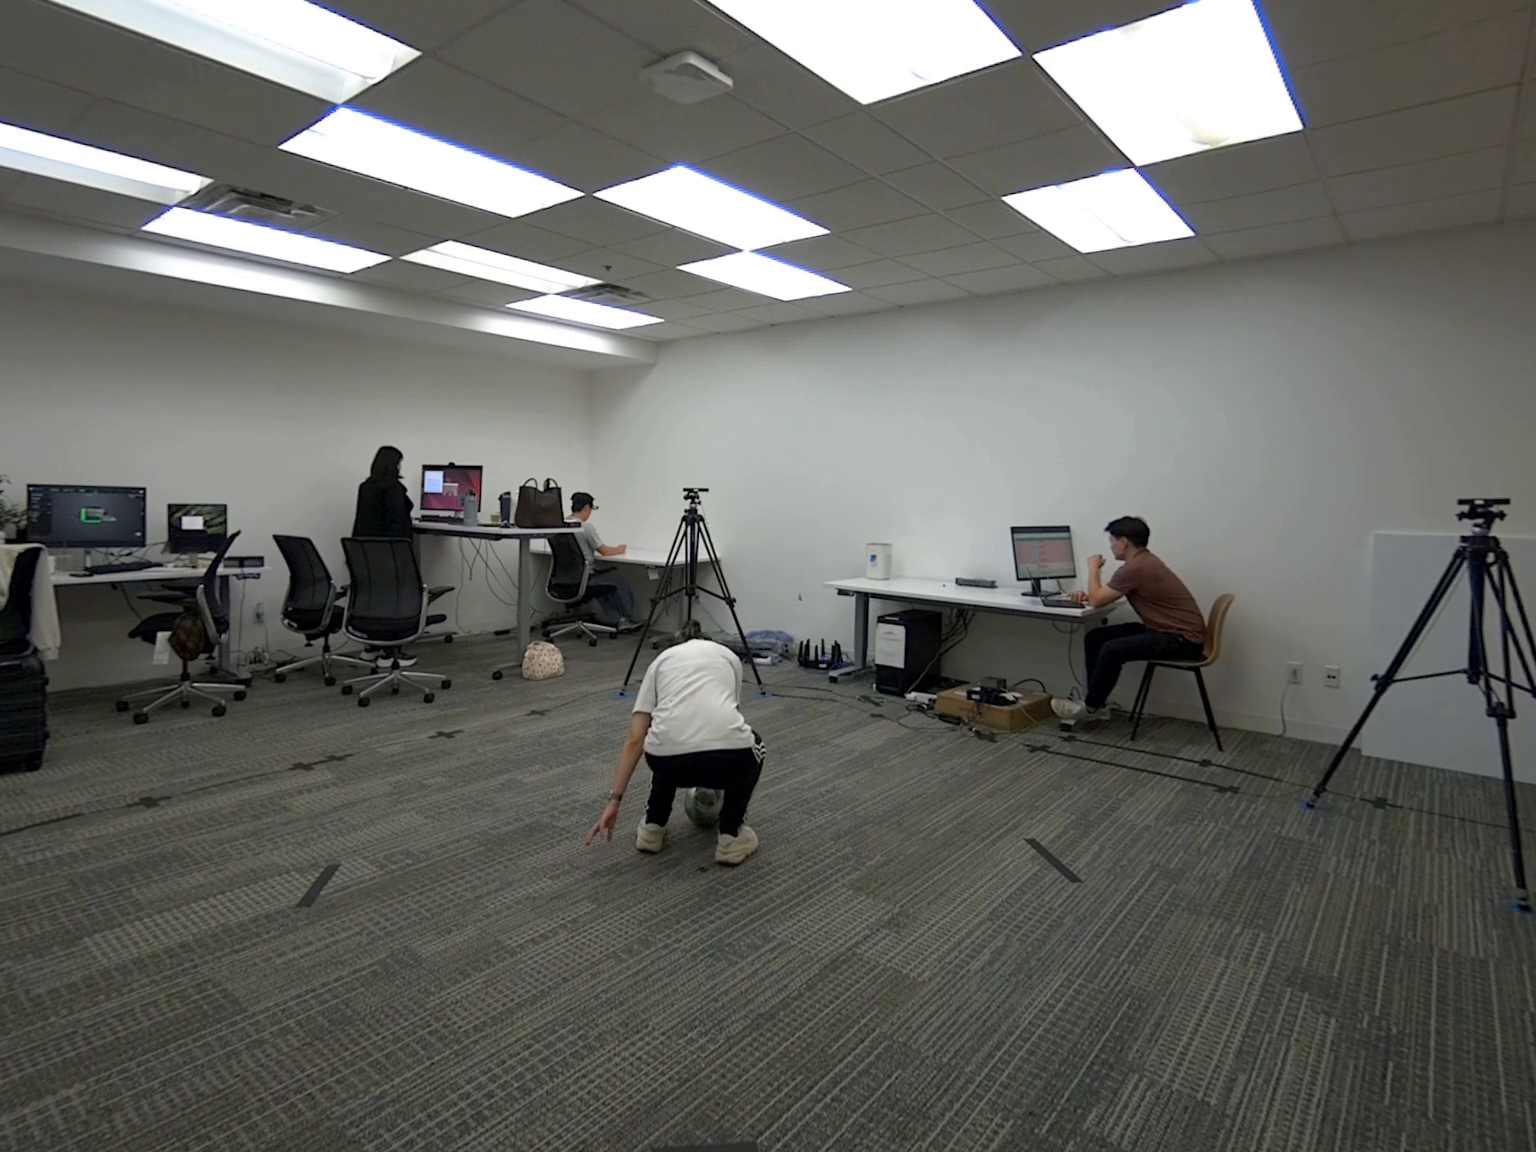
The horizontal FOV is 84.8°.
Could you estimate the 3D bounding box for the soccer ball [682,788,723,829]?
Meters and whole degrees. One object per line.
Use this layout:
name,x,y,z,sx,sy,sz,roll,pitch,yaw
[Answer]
soccer ball,-0.262,0.938,3.512,0.187,0.187,0.188,1,4,-2
